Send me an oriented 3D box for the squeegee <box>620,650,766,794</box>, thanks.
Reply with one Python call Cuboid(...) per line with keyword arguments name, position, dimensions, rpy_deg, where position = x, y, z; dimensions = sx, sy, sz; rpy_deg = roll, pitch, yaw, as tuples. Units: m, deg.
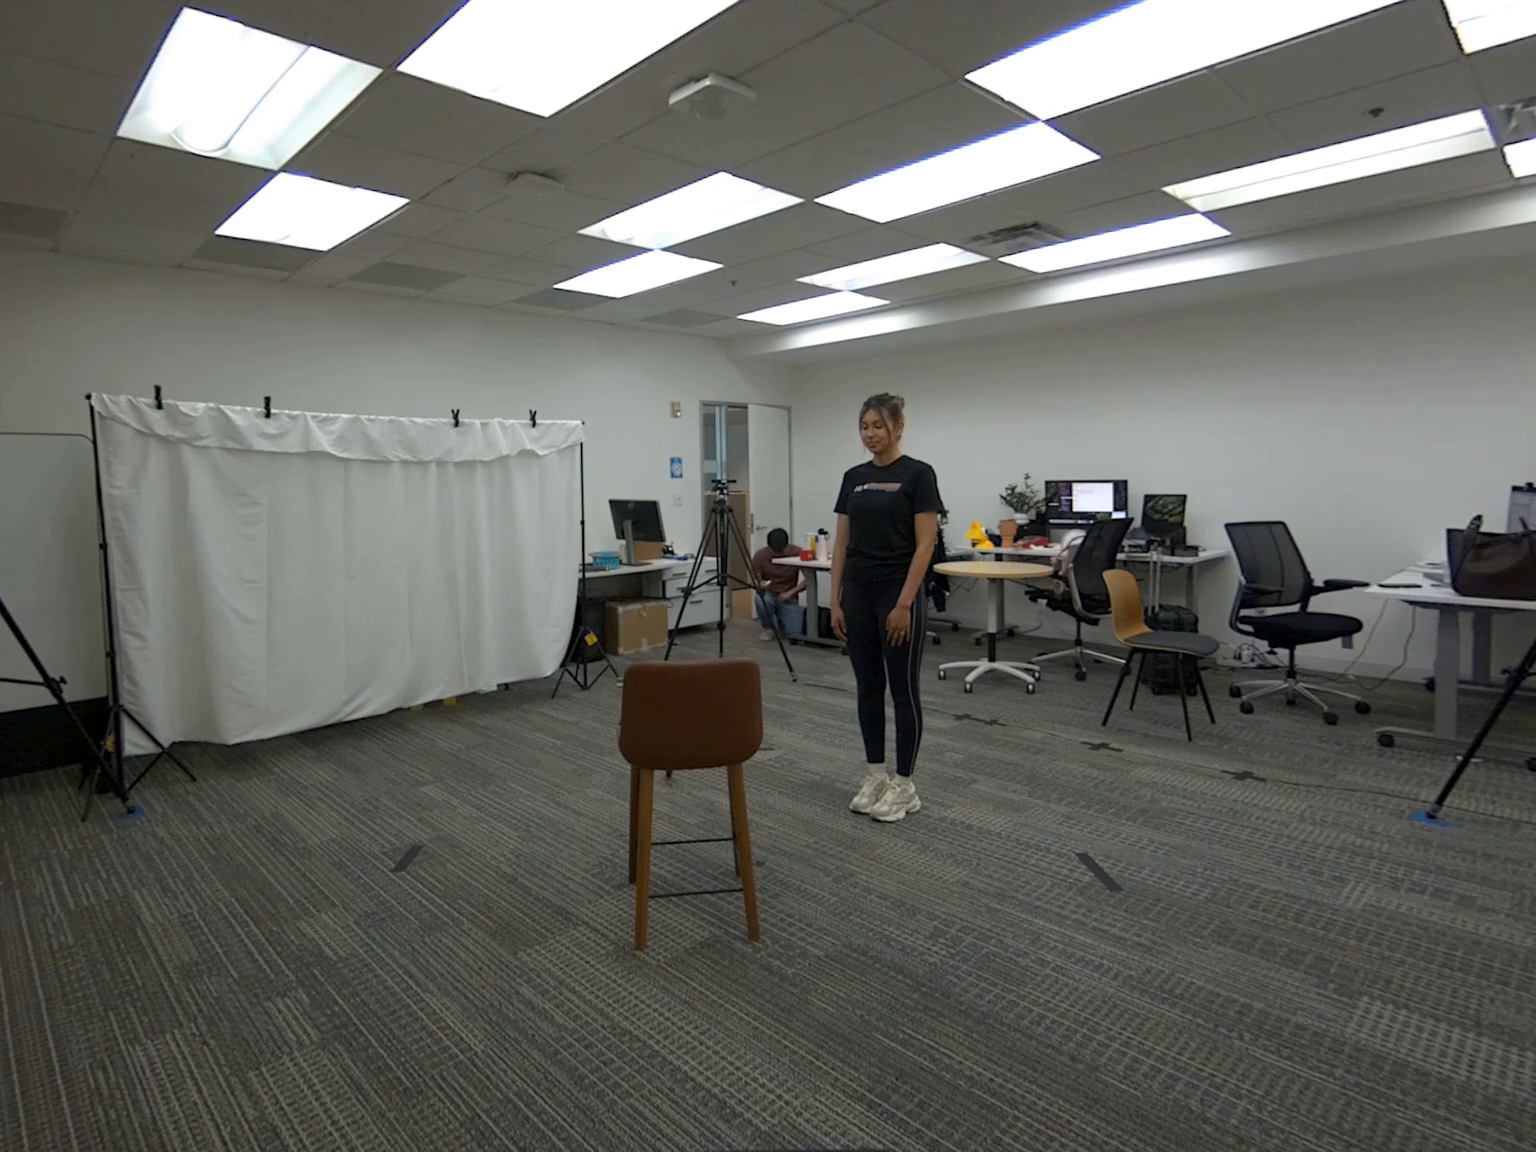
Cuboid(name="squeegee", position=(-0.354, 0.629, 3.376), dimensions=(0.438, 0.053, 1.517), rpy_deg=(20, -26, -1))
